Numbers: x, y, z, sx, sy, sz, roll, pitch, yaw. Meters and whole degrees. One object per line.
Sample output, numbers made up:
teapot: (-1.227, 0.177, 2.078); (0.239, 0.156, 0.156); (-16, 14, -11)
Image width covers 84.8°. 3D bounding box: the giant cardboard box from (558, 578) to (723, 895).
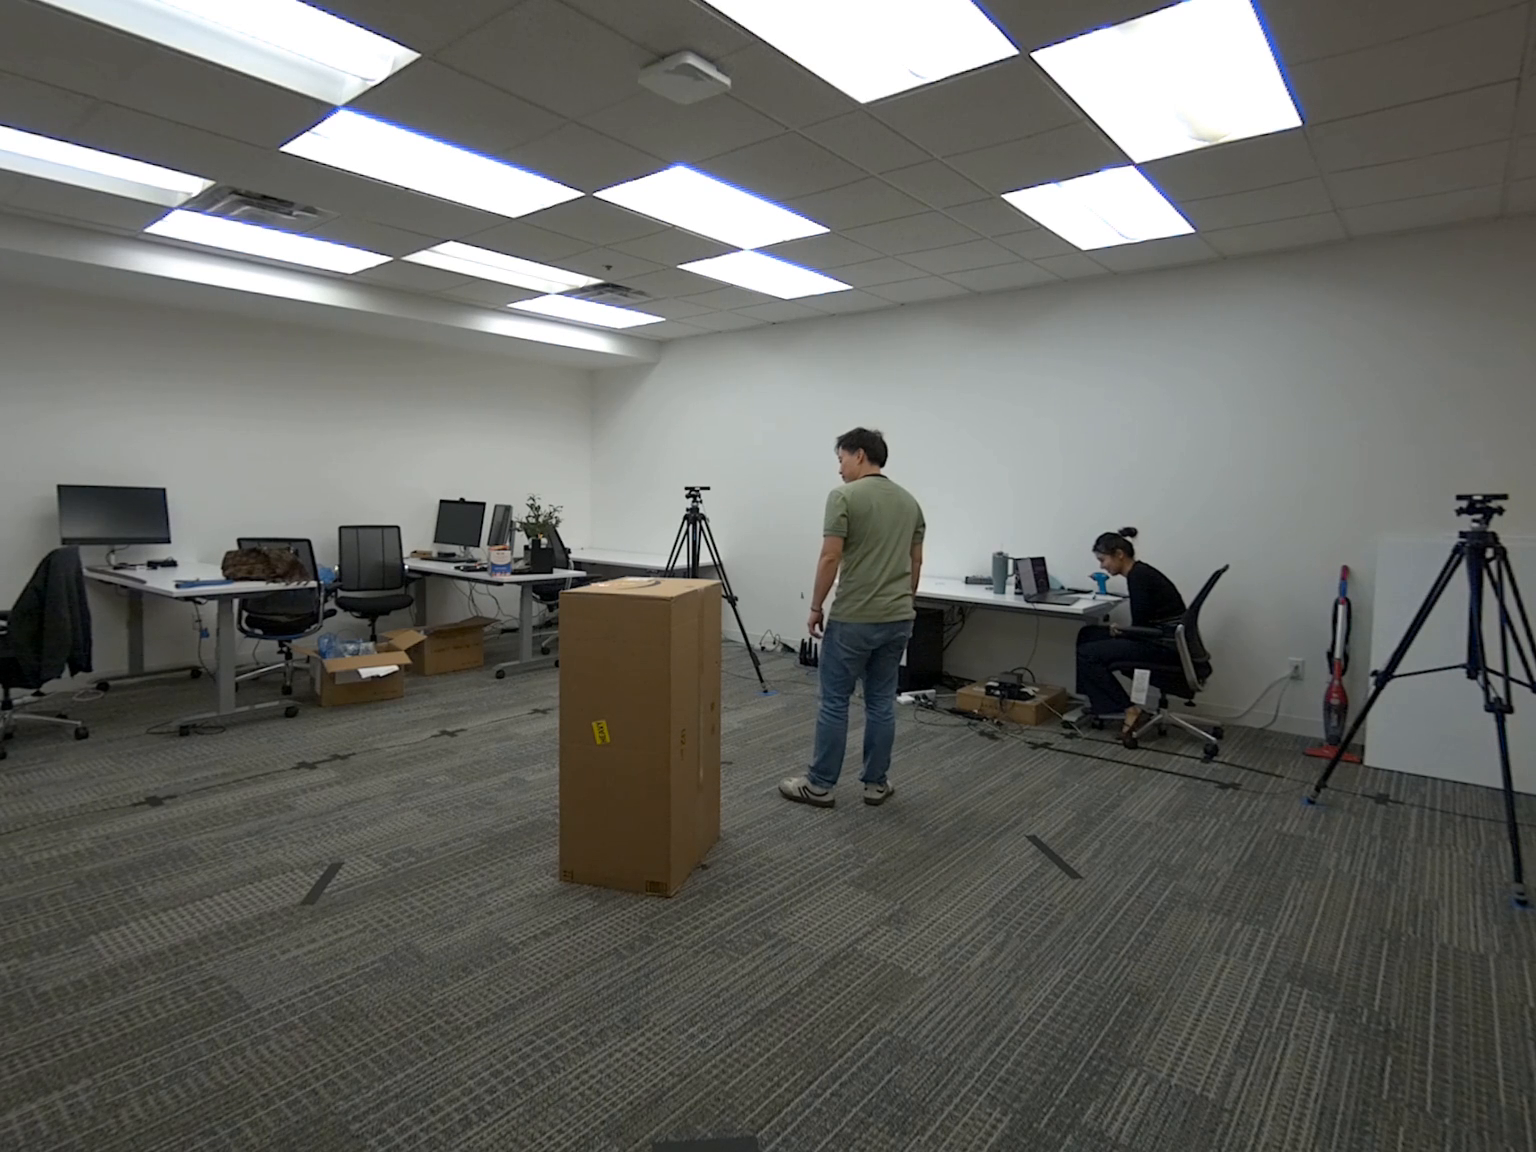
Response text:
giant cardboard box: (-0.472, 0.543, 3.174); (0.434, 1.023, 0.568); (1, 3, 17)
